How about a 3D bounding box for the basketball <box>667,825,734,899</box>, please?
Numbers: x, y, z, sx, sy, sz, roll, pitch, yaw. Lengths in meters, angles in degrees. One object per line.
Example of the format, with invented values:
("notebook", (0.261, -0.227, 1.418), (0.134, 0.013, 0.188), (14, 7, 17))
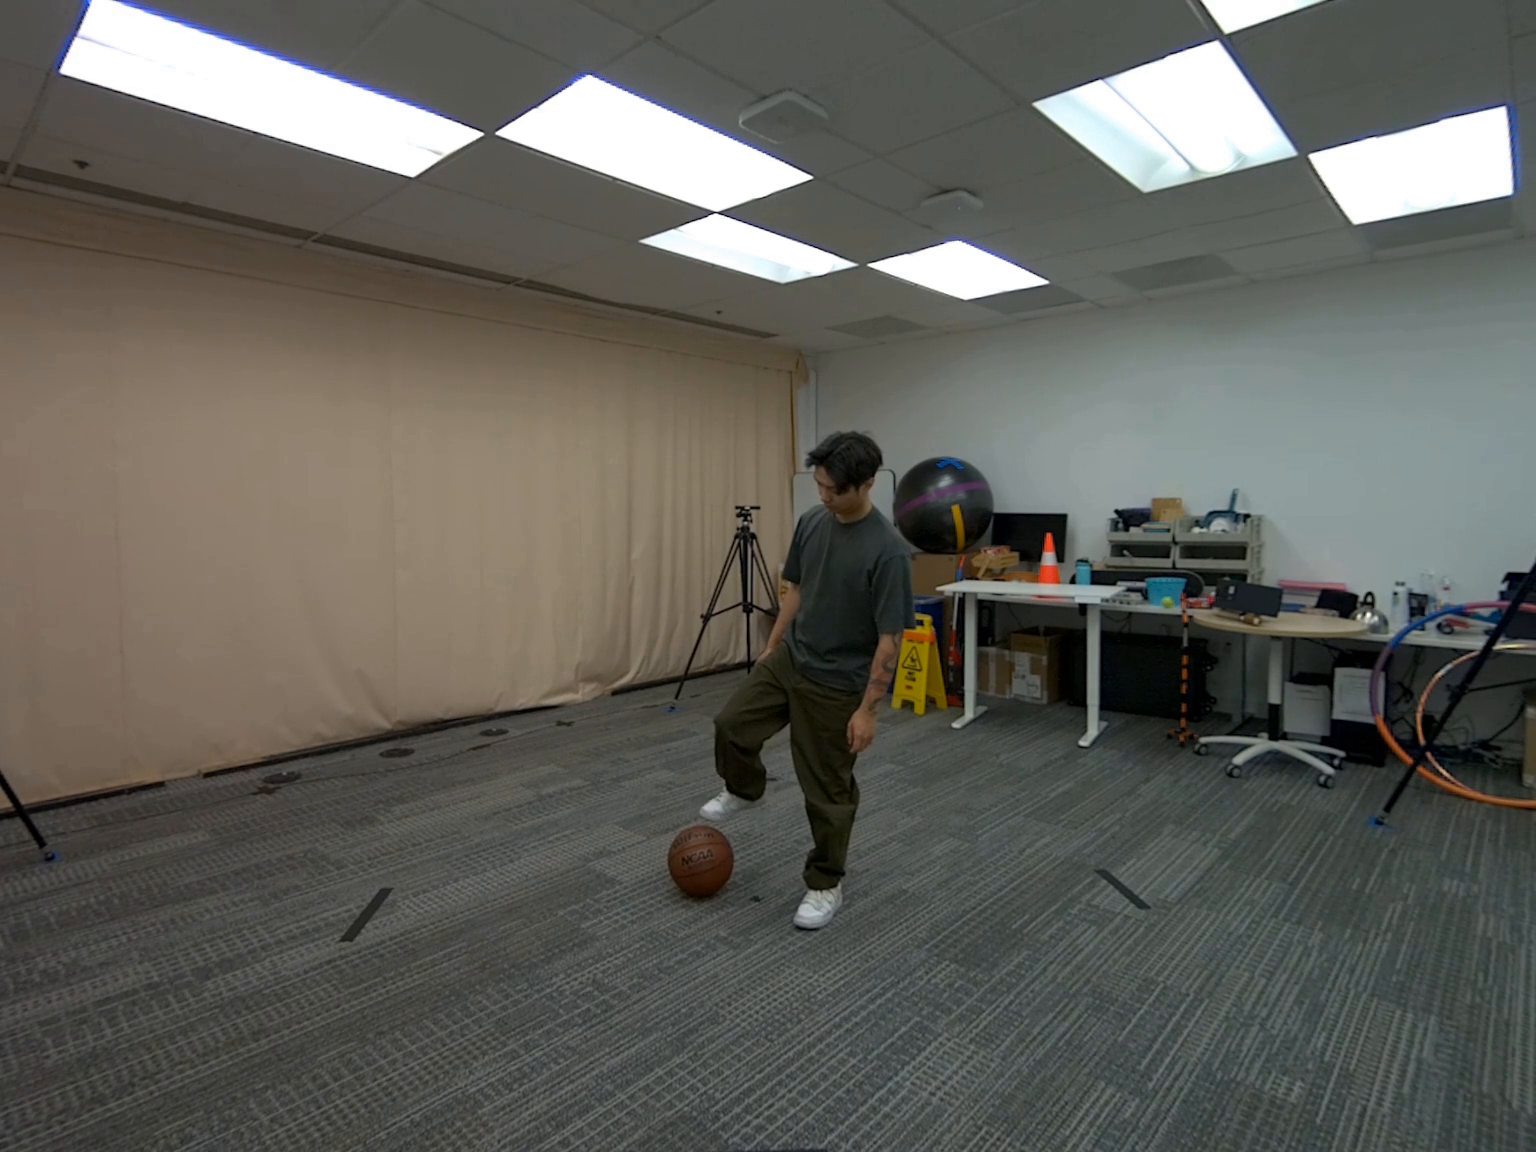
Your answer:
("basketball", (-0.245, 1.025, 3.026), (0.236, 0.235, 0.237), (0, 4, -2))
